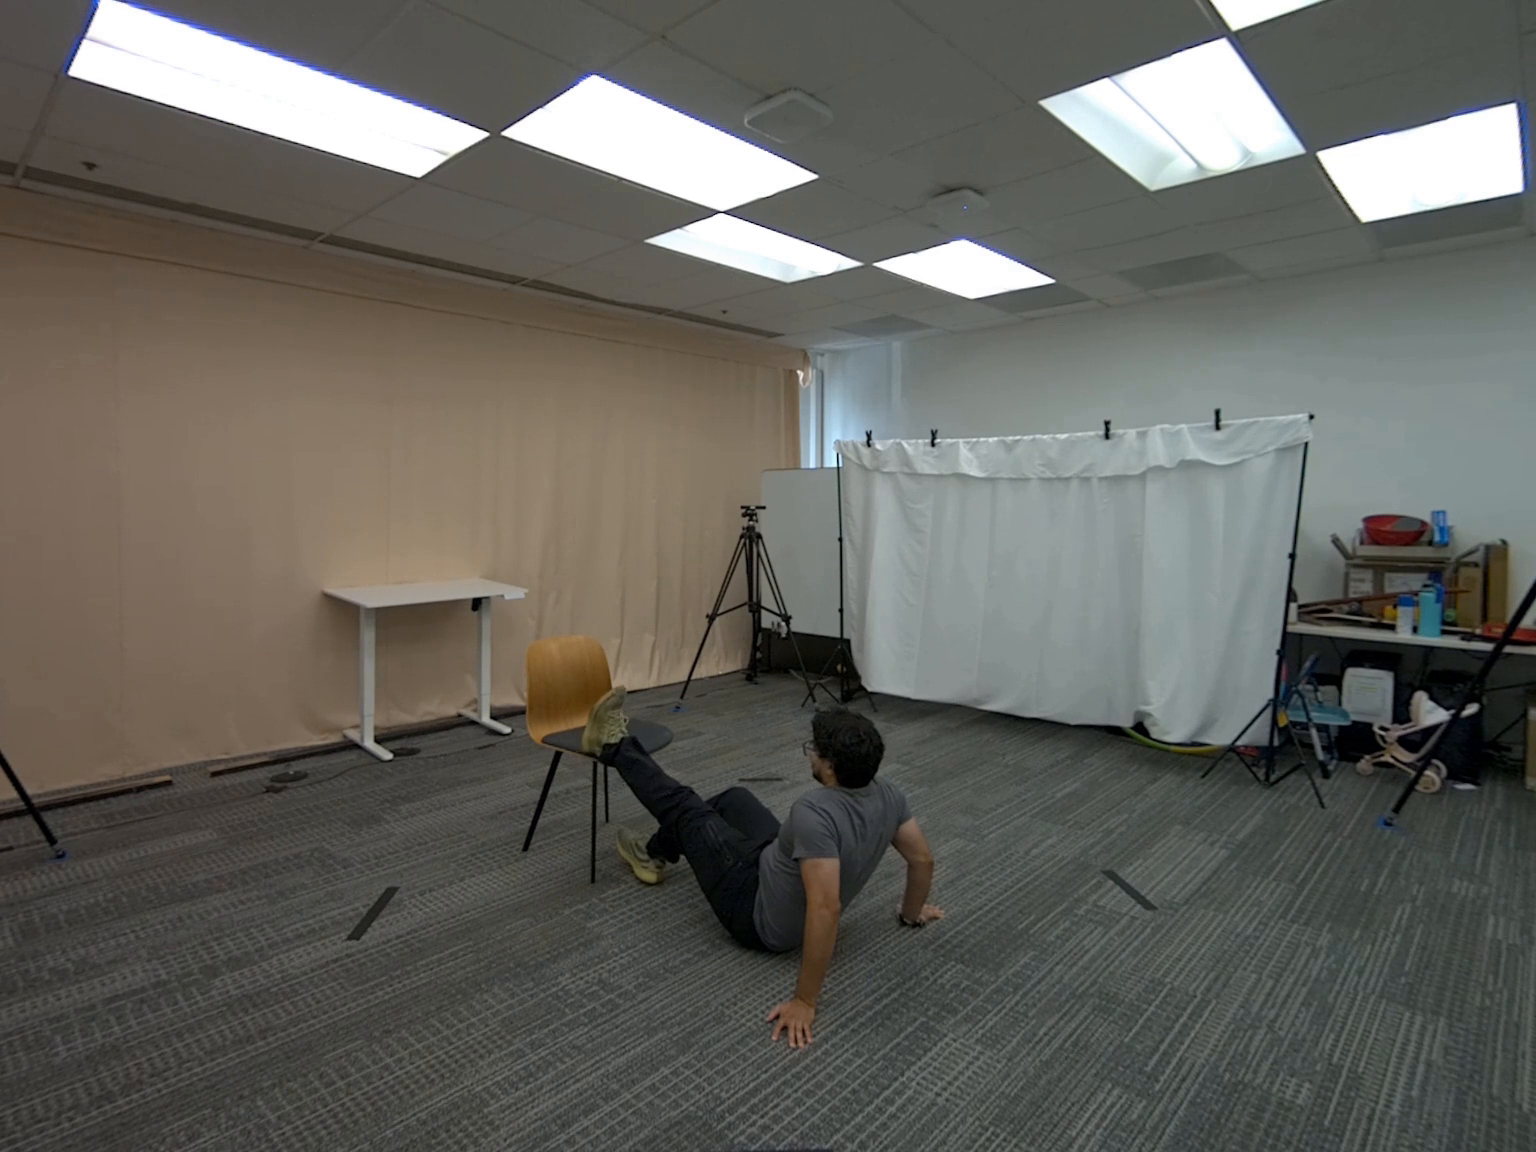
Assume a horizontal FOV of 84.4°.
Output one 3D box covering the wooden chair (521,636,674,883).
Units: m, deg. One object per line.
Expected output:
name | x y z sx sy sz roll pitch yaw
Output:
wooden chair | -0.678 0.687 3.393 0.539 0.877 0.463 -4 0 41
